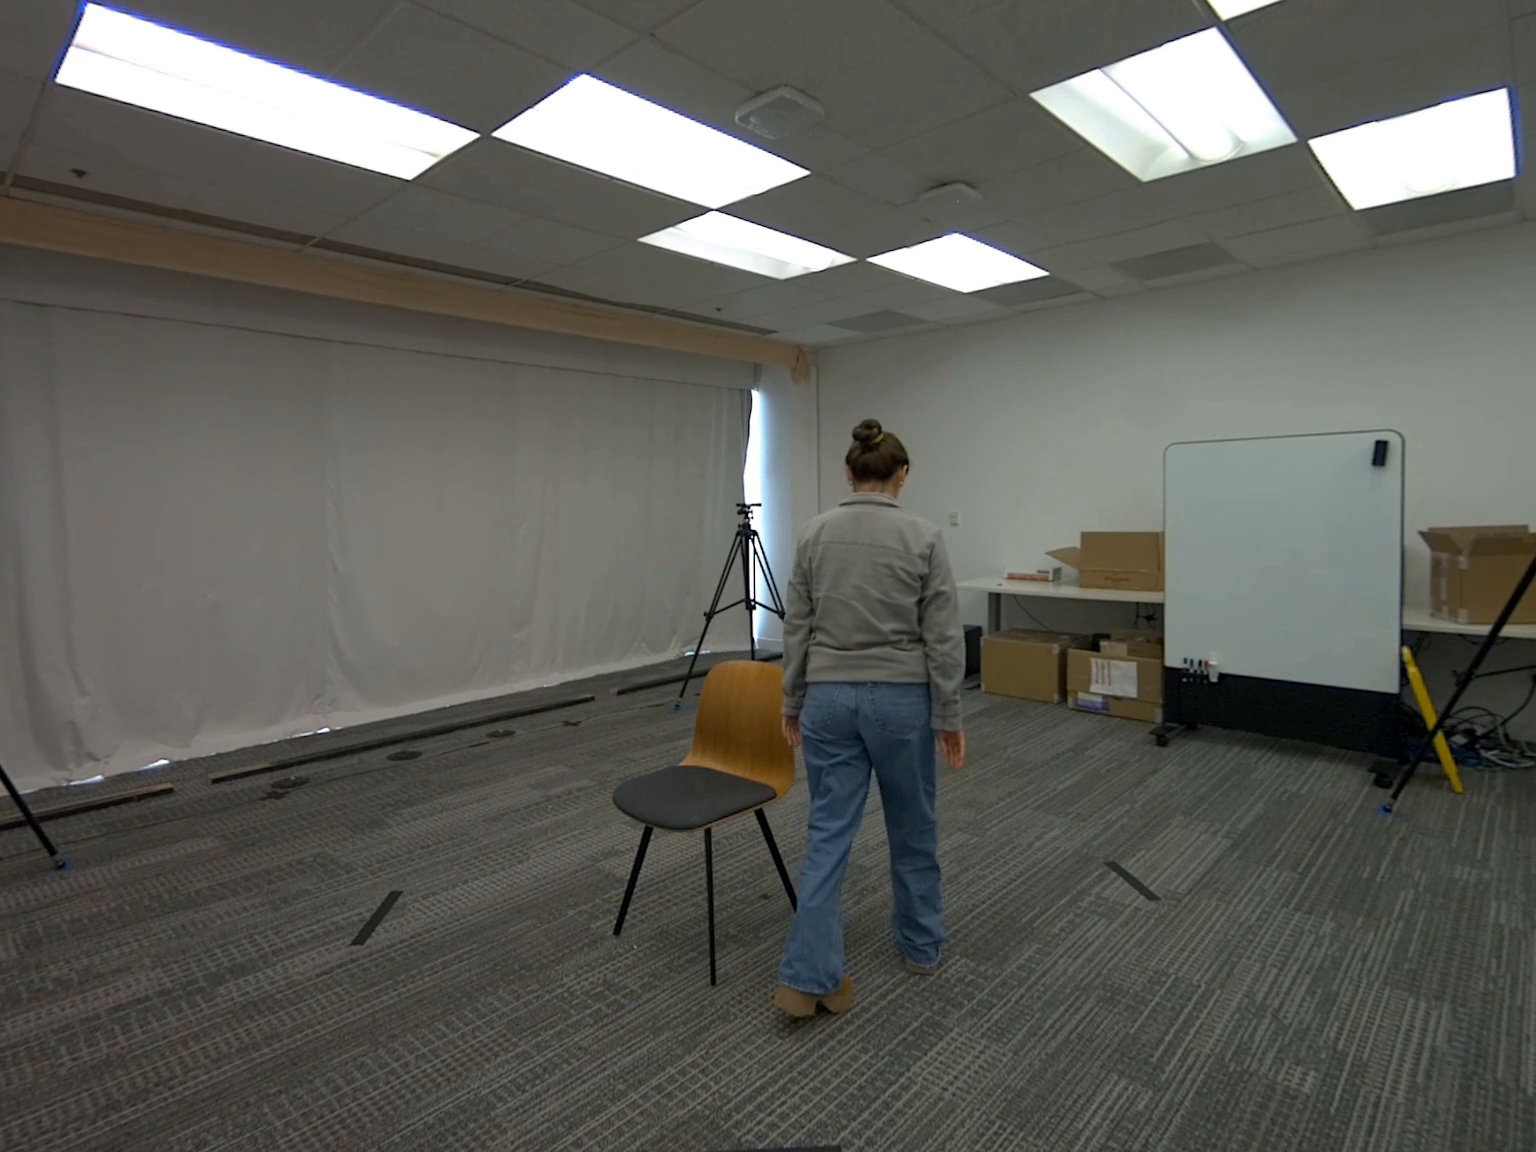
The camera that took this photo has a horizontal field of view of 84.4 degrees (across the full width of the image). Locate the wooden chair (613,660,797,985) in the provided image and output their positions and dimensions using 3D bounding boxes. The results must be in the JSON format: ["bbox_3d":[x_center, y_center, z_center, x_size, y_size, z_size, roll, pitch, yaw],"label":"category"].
[{"bbox_3d":[-0.195,0.736,2.718,0.494,0.877,0.506,3,1,41],"label":"wooden chair"}]
